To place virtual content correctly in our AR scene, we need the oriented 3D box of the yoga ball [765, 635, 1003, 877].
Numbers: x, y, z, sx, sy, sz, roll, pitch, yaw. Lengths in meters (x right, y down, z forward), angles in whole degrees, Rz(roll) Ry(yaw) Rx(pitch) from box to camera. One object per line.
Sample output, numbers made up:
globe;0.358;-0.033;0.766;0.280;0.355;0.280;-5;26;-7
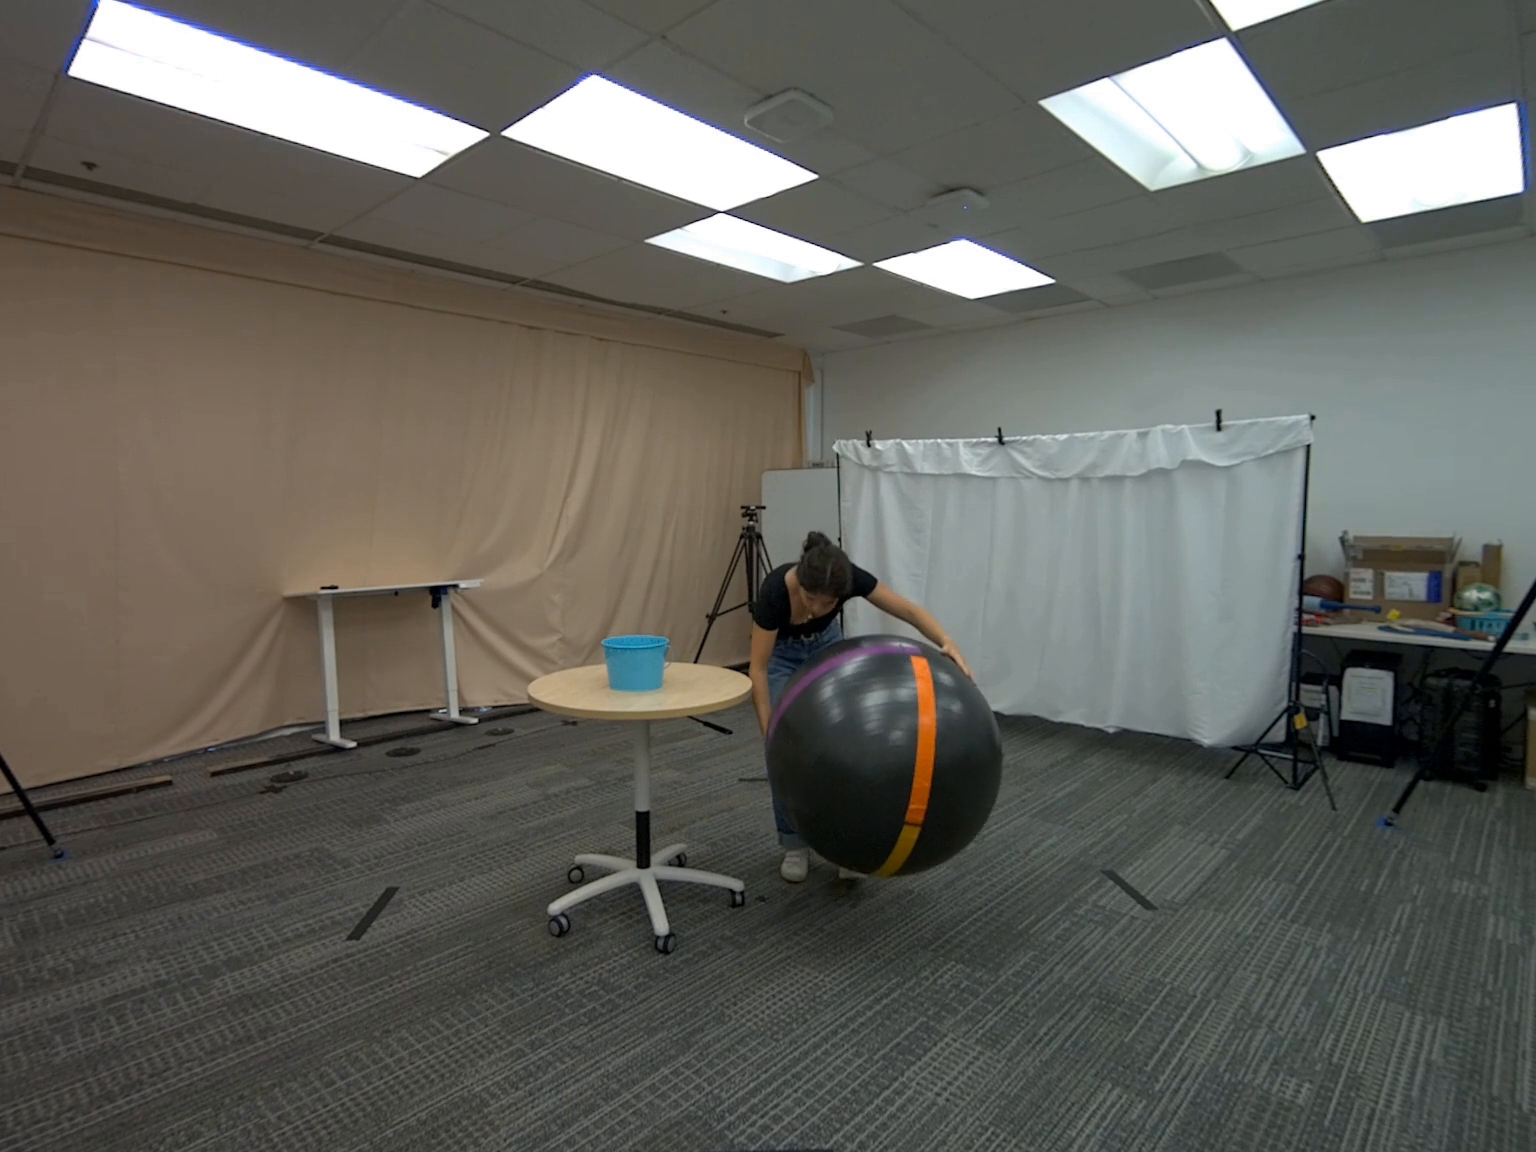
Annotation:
yoga ball;0.382;0.583;2.740;0.757;0.756;0.760;0;4;-2
